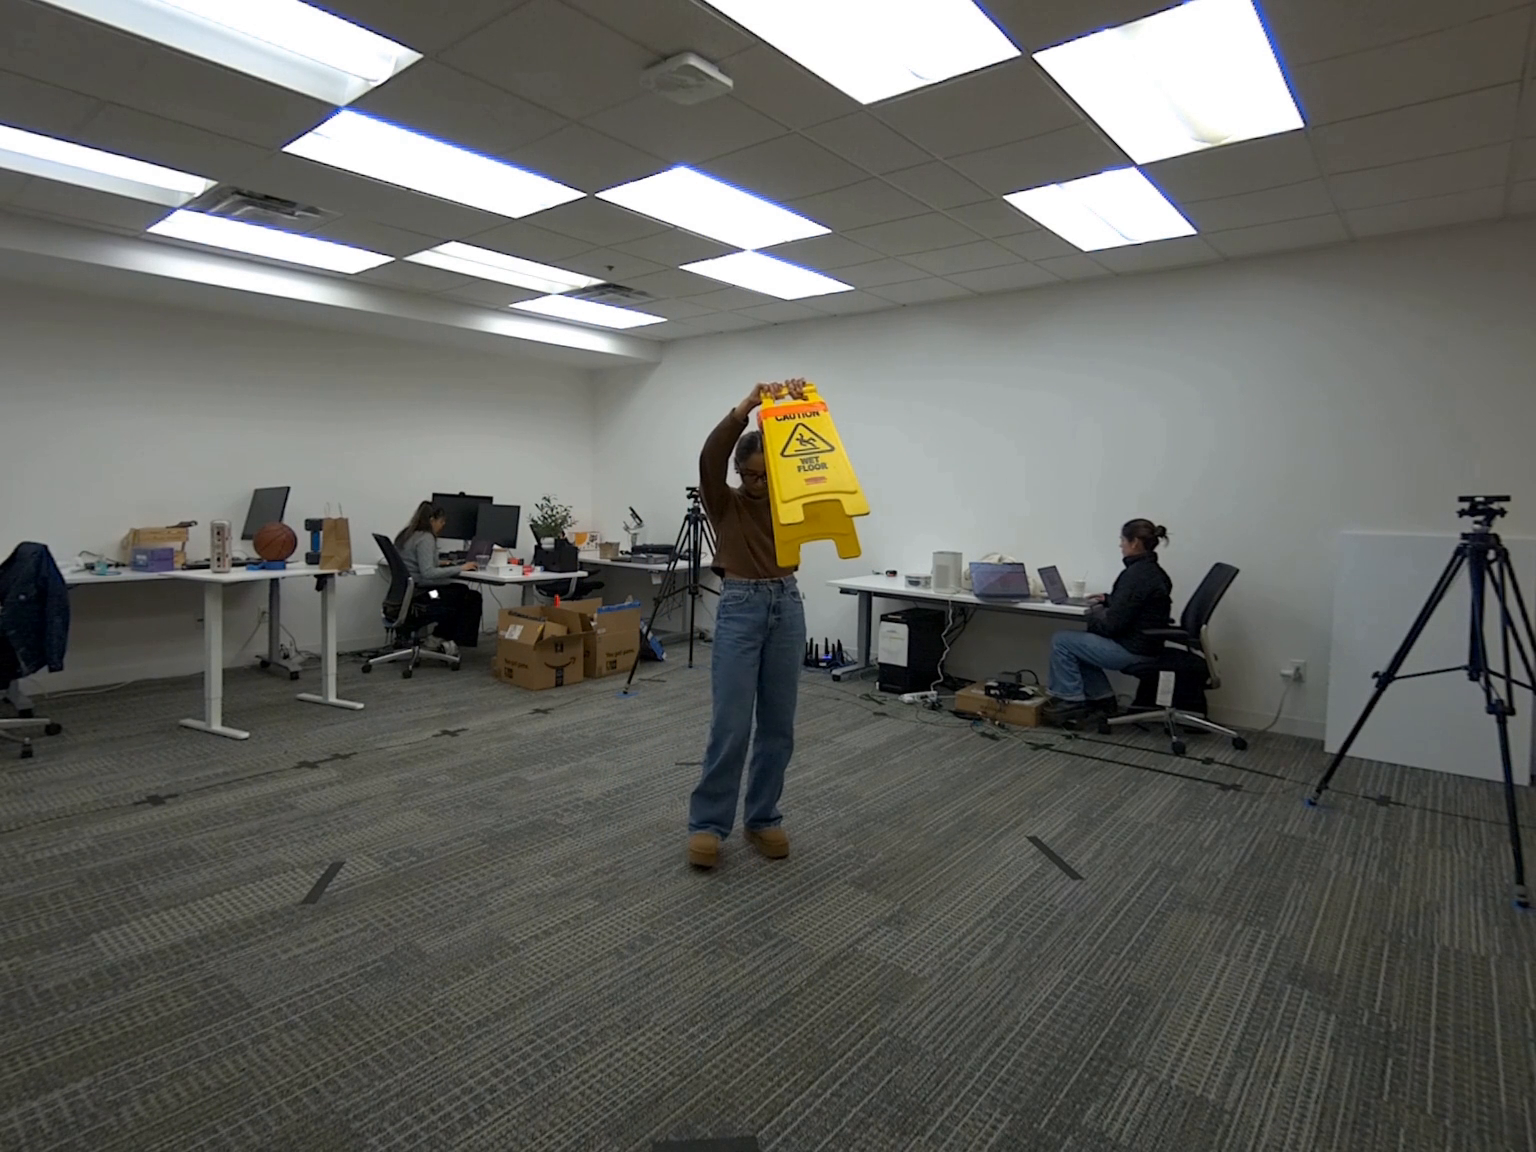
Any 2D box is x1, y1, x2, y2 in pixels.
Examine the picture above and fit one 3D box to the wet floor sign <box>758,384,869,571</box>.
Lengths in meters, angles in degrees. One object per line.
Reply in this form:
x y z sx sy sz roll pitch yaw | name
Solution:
0.094 -0.390 2.848 0.281 0.665 0.283 -8 -29 -6 | wet floor sign
